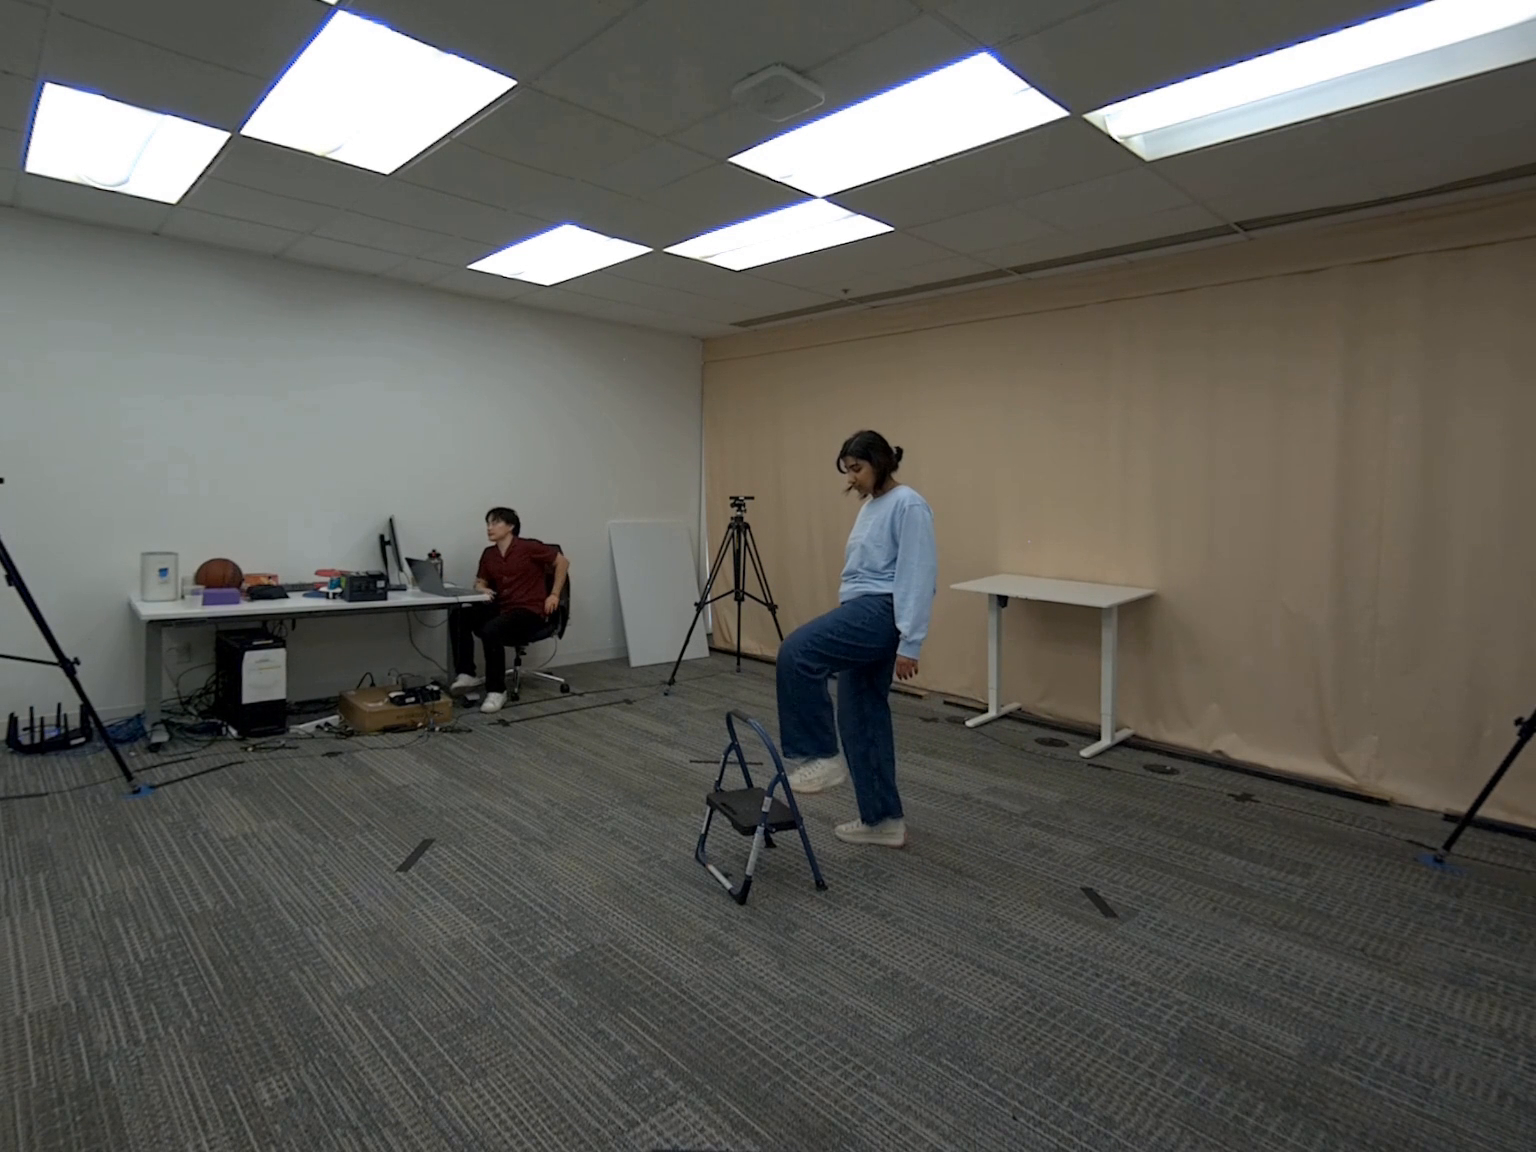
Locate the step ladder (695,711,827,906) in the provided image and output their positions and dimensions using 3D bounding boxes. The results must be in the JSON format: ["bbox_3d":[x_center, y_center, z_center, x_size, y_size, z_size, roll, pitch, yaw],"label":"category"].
[{"bbox_3d":[-0.037,0.804,3.110,0.343,0.605,0.440,-1,4,-27],"label":"step ladder"}]
